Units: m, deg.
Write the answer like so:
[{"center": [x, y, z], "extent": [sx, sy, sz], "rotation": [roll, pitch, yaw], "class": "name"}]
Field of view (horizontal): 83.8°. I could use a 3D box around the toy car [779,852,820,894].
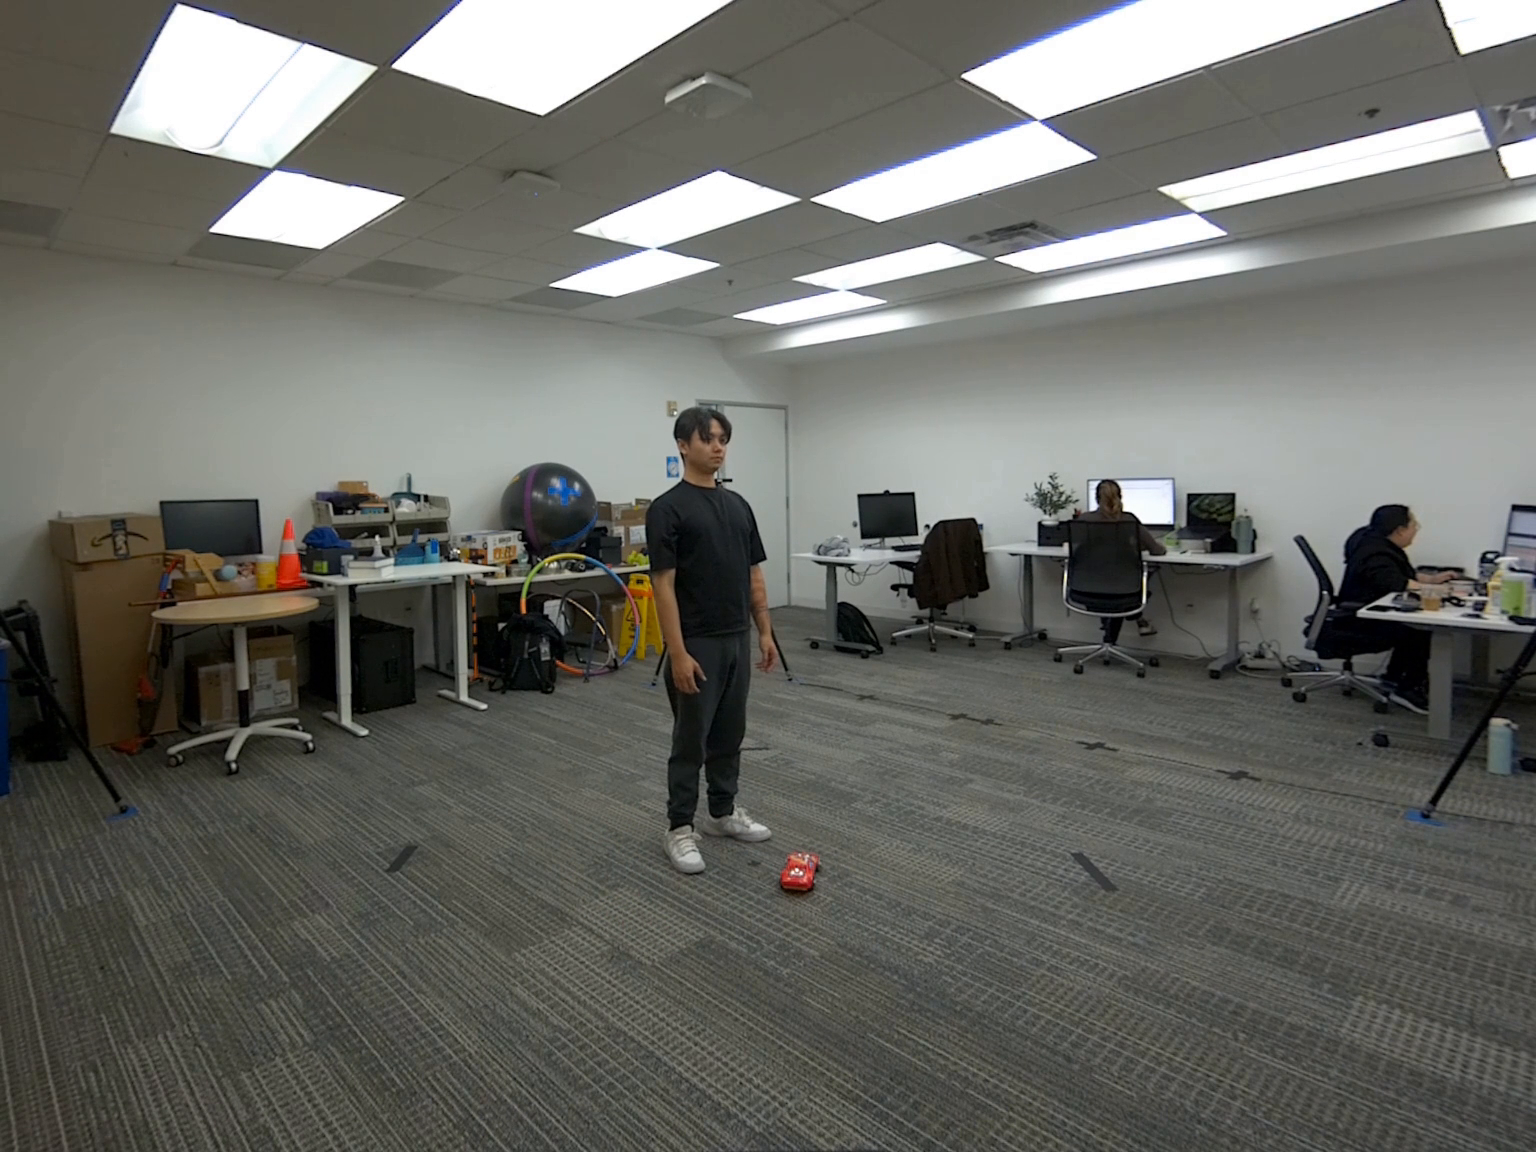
[{"center": [0.112, 1.026, 2.959], "extent": [0.132, 0.083, 0.250], "rotation": [0, -4, 13], "class": "toy car"}]
